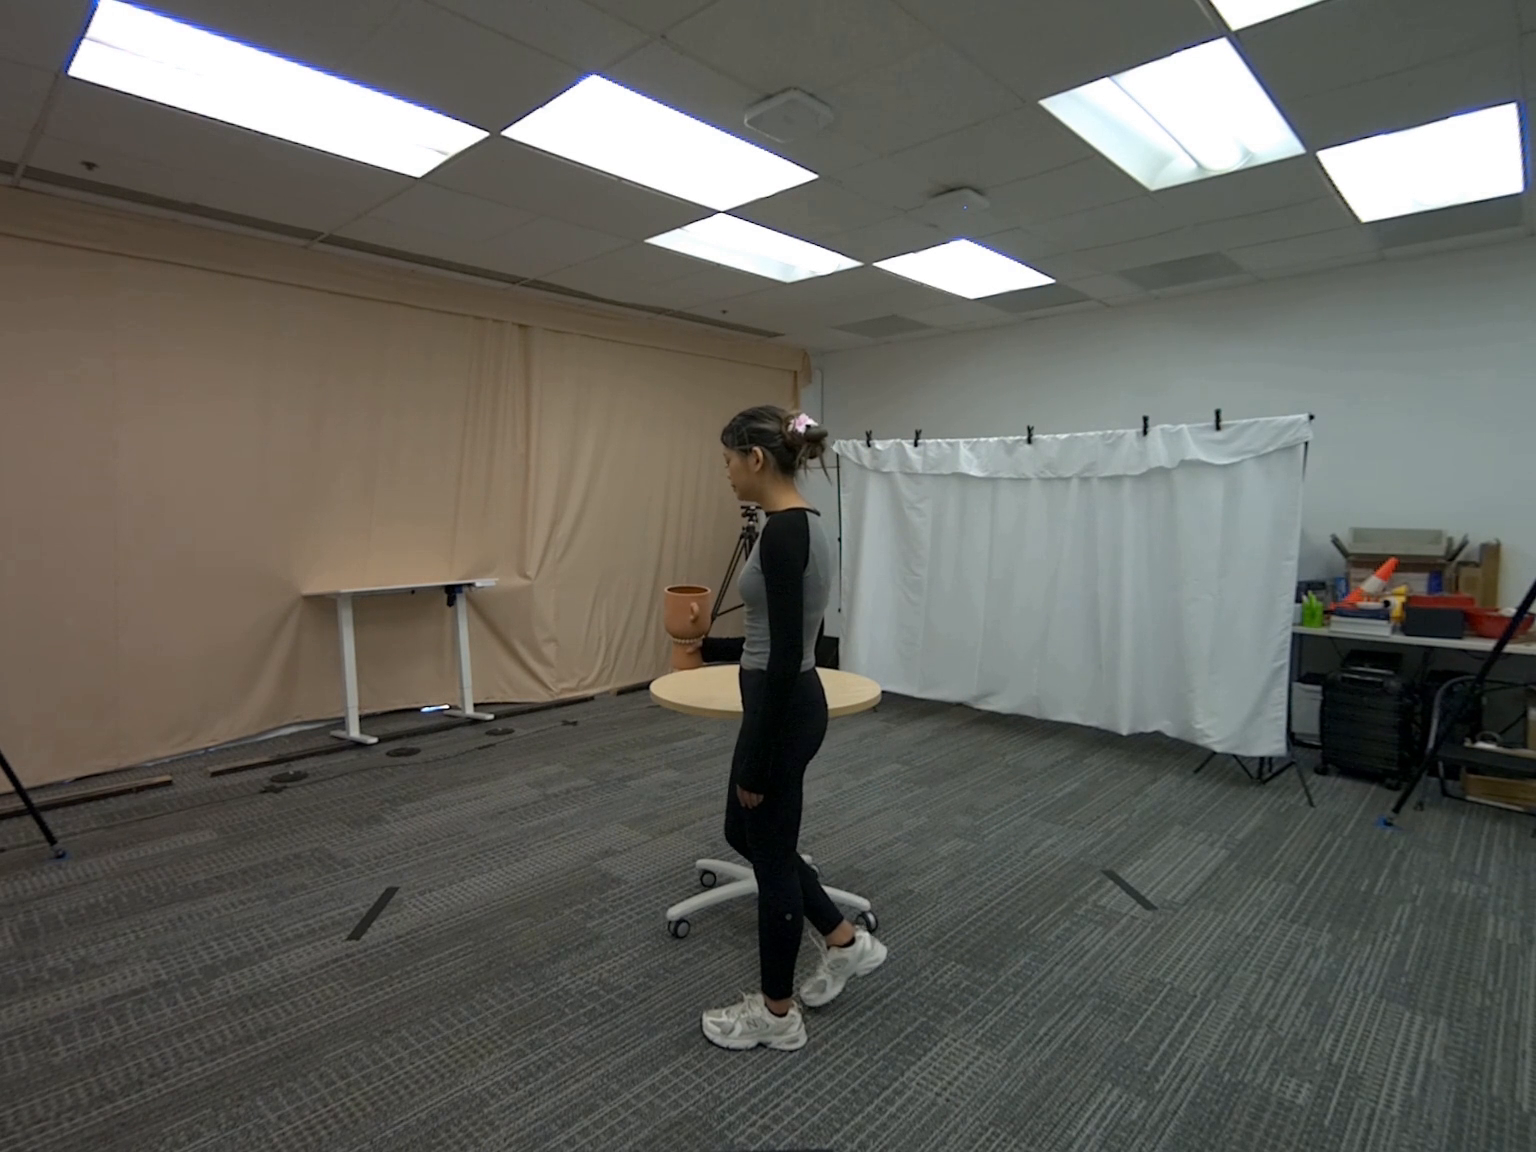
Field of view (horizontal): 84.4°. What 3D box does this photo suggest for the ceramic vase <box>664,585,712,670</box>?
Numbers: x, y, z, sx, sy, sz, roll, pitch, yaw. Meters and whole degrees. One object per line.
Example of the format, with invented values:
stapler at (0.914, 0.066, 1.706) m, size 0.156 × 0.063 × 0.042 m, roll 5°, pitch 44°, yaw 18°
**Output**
ceramic vase at (-0.225, 0.148, 2.375) m, size 0.138 × 0.218 × 0.156 m, roll 5°, pitch 11°, yaw 20°
